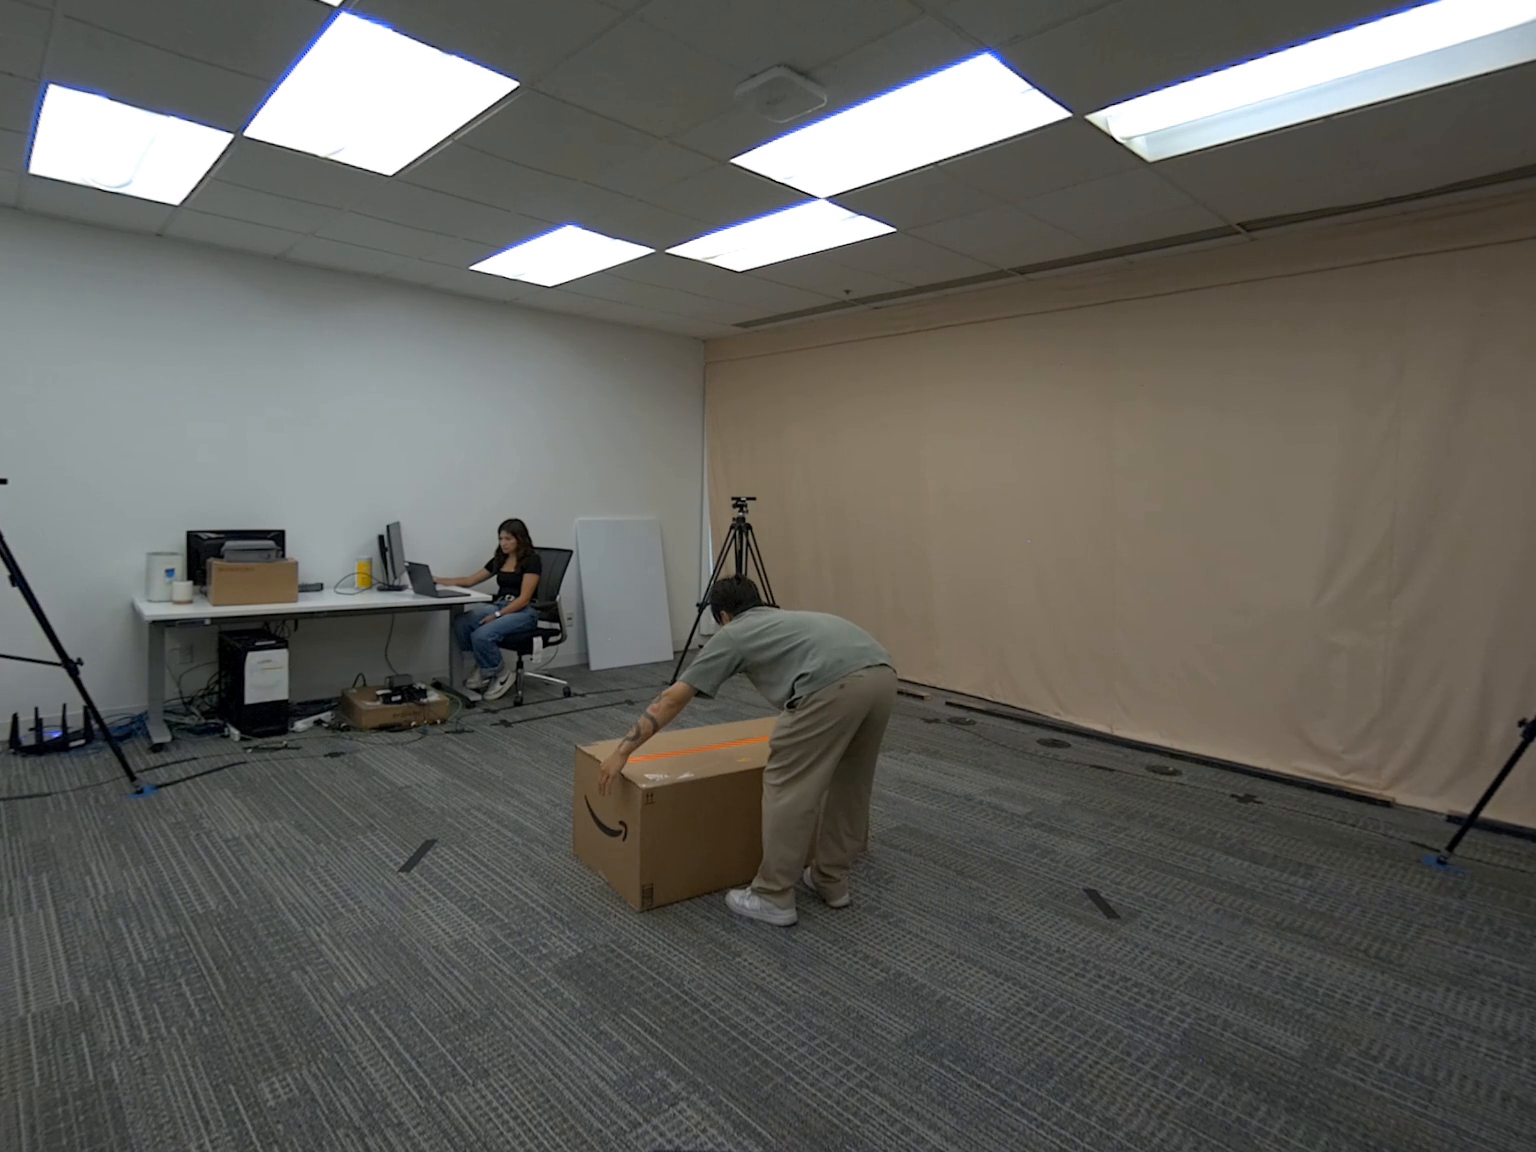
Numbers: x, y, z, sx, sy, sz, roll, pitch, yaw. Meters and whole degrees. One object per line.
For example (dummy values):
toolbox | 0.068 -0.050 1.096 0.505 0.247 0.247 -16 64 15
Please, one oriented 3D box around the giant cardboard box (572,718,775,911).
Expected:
giant cardboard box | -0.184 0.871 3.318 1.004 0.425 0.592 -2 6 -34
